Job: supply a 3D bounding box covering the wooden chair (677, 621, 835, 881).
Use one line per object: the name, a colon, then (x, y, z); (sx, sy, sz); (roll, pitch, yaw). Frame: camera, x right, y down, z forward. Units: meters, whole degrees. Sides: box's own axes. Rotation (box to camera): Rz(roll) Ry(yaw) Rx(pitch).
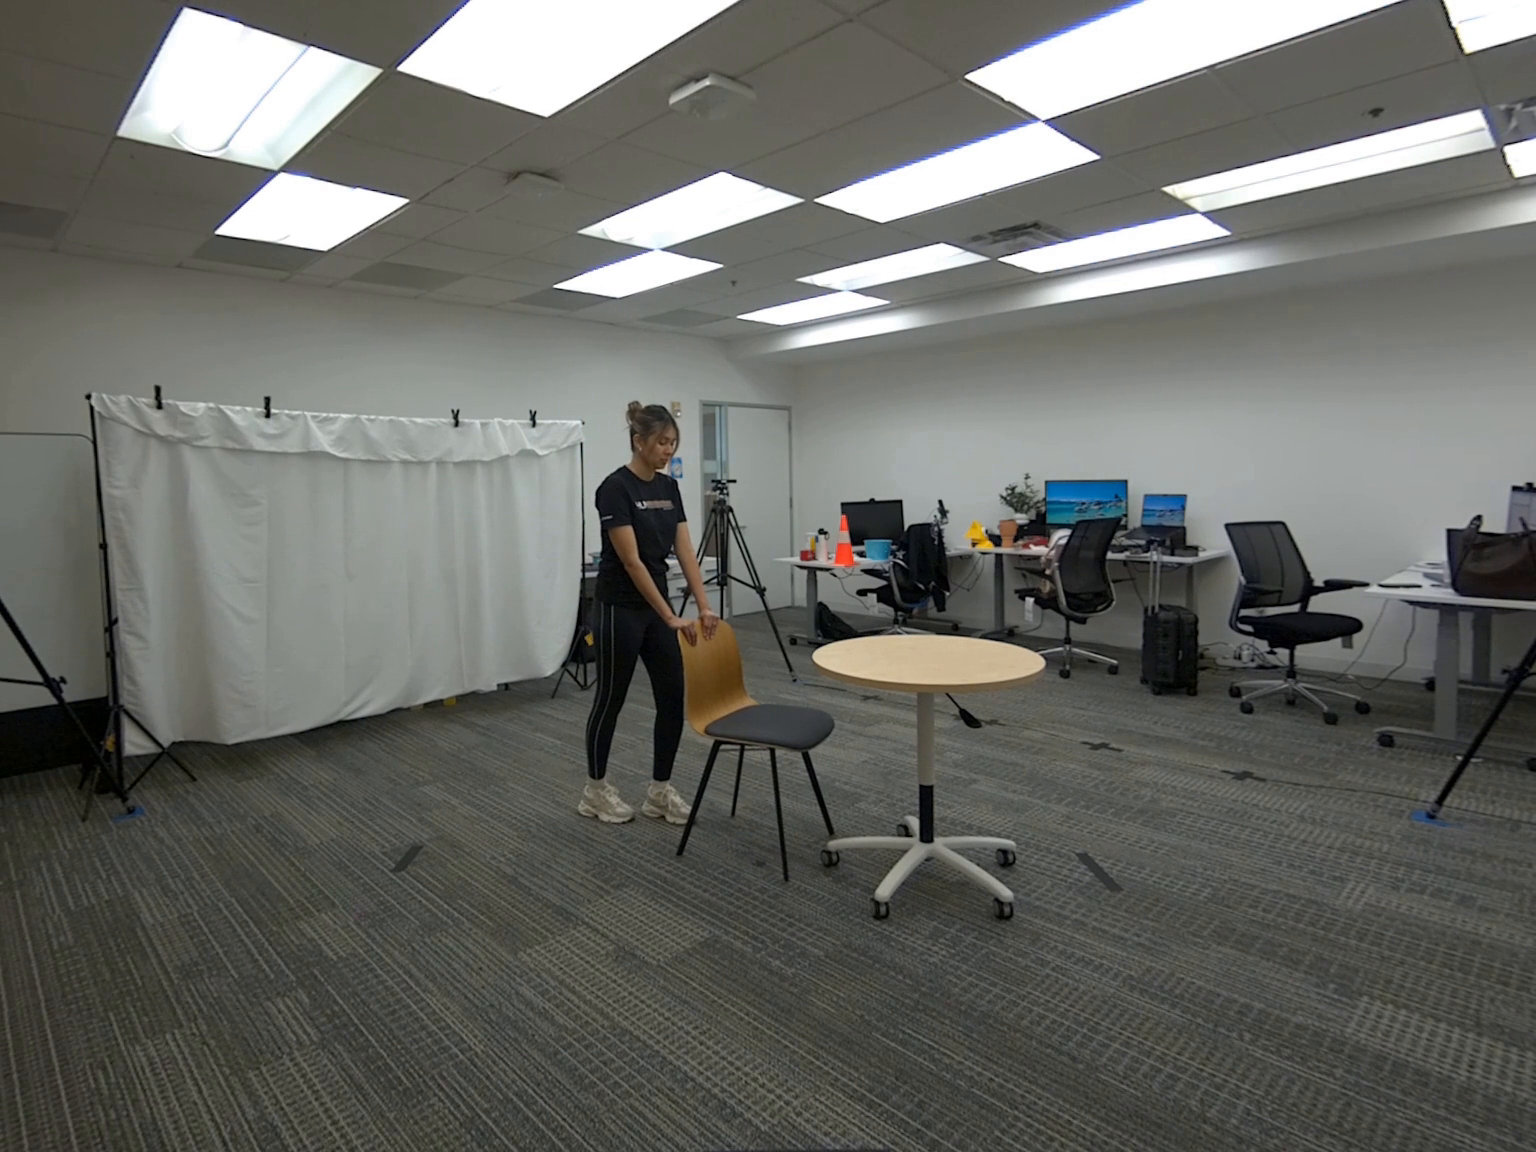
wooden chair: (-0.038, 0.604, 3.235); (0.535, 0.876, 0.468); (-3, 2, 28)
